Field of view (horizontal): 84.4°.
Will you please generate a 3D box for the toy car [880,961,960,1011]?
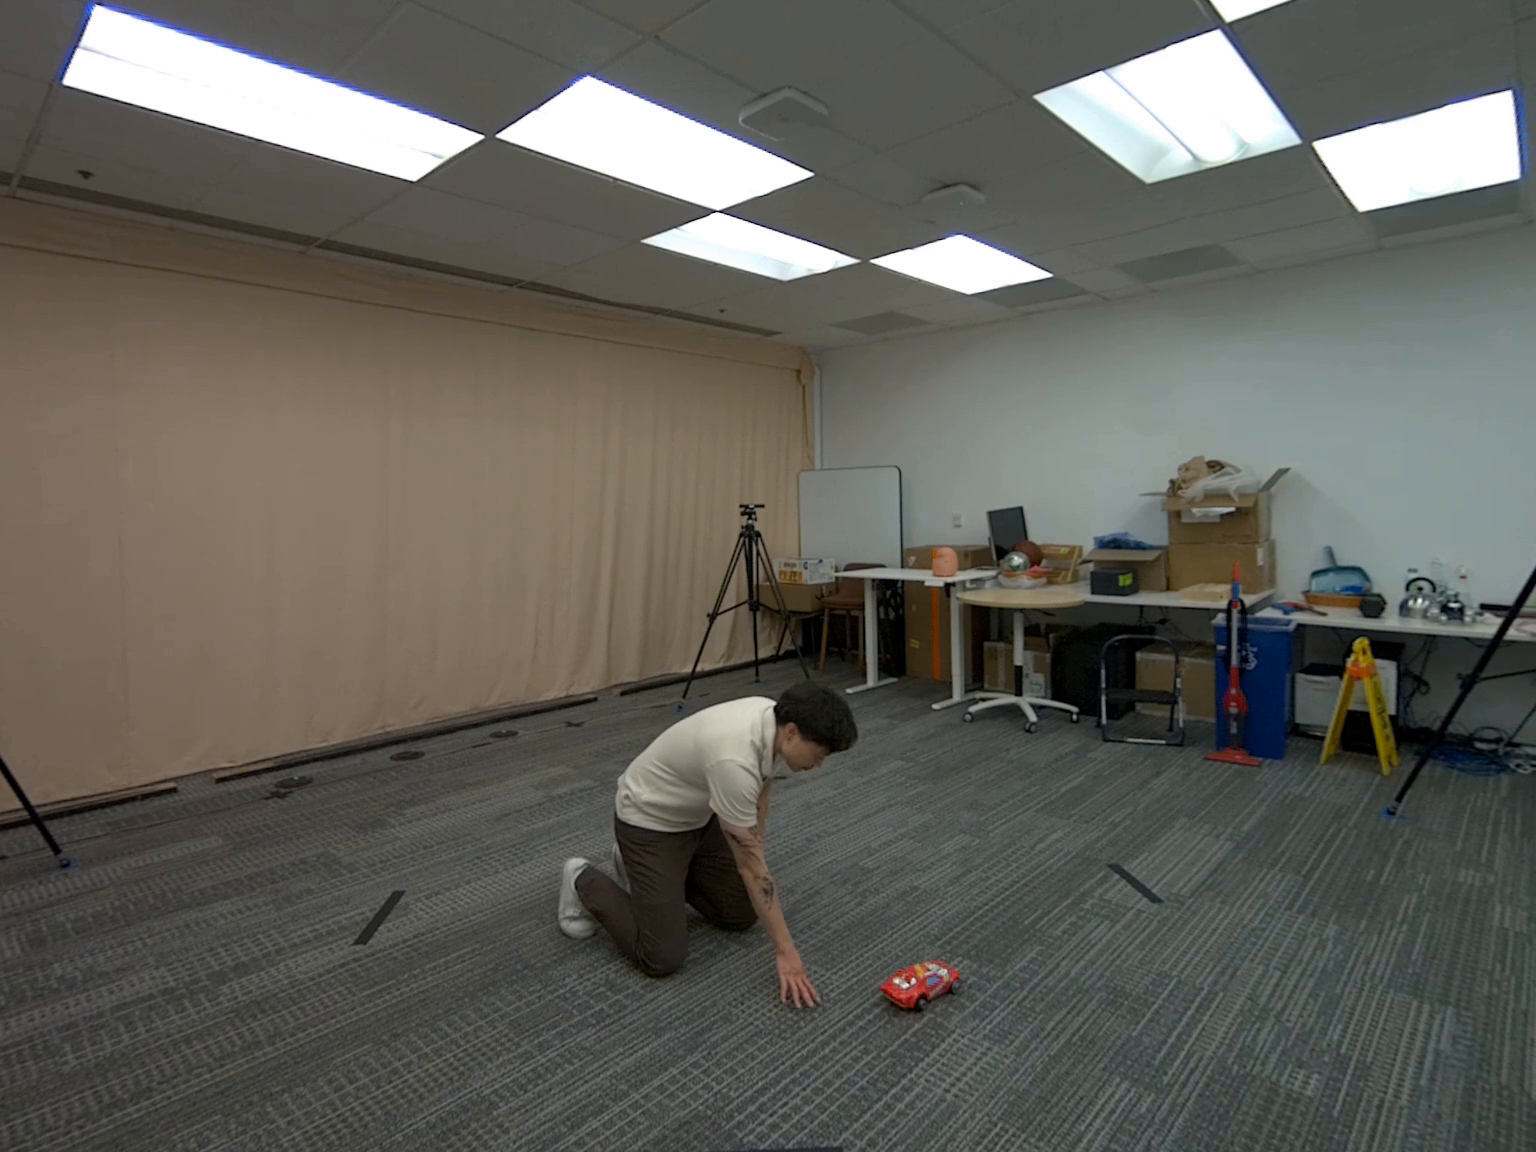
[{"bbox_3d":[0.433,1.155,2.362,0.246,0.083,0.134,10,-2,-35],"label":"toy car"}]
